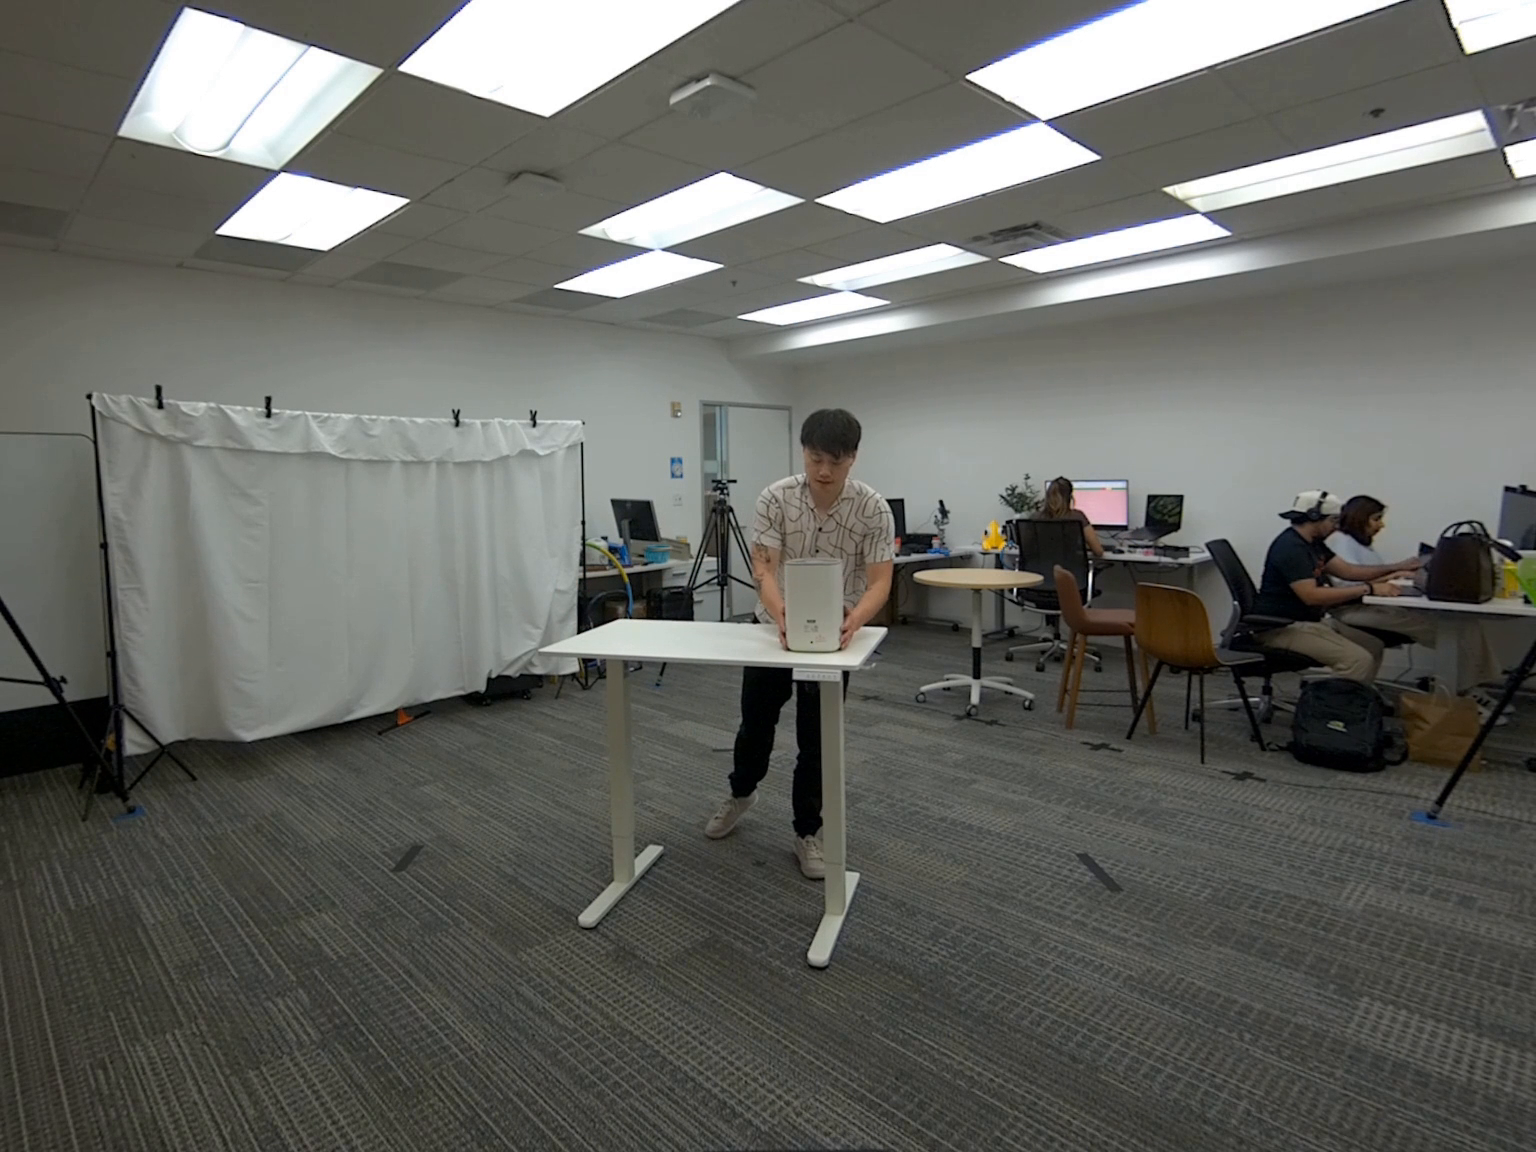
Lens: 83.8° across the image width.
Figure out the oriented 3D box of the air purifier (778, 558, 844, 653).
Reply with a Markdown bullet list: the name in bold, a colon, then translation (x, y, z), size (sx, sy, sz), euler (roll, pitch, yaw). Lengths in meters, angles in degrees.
- **air purifier**: translation (0.127, 0.087, 2.584), size (0.173, 0.264, 0.170), euler (0, 4, 9)
